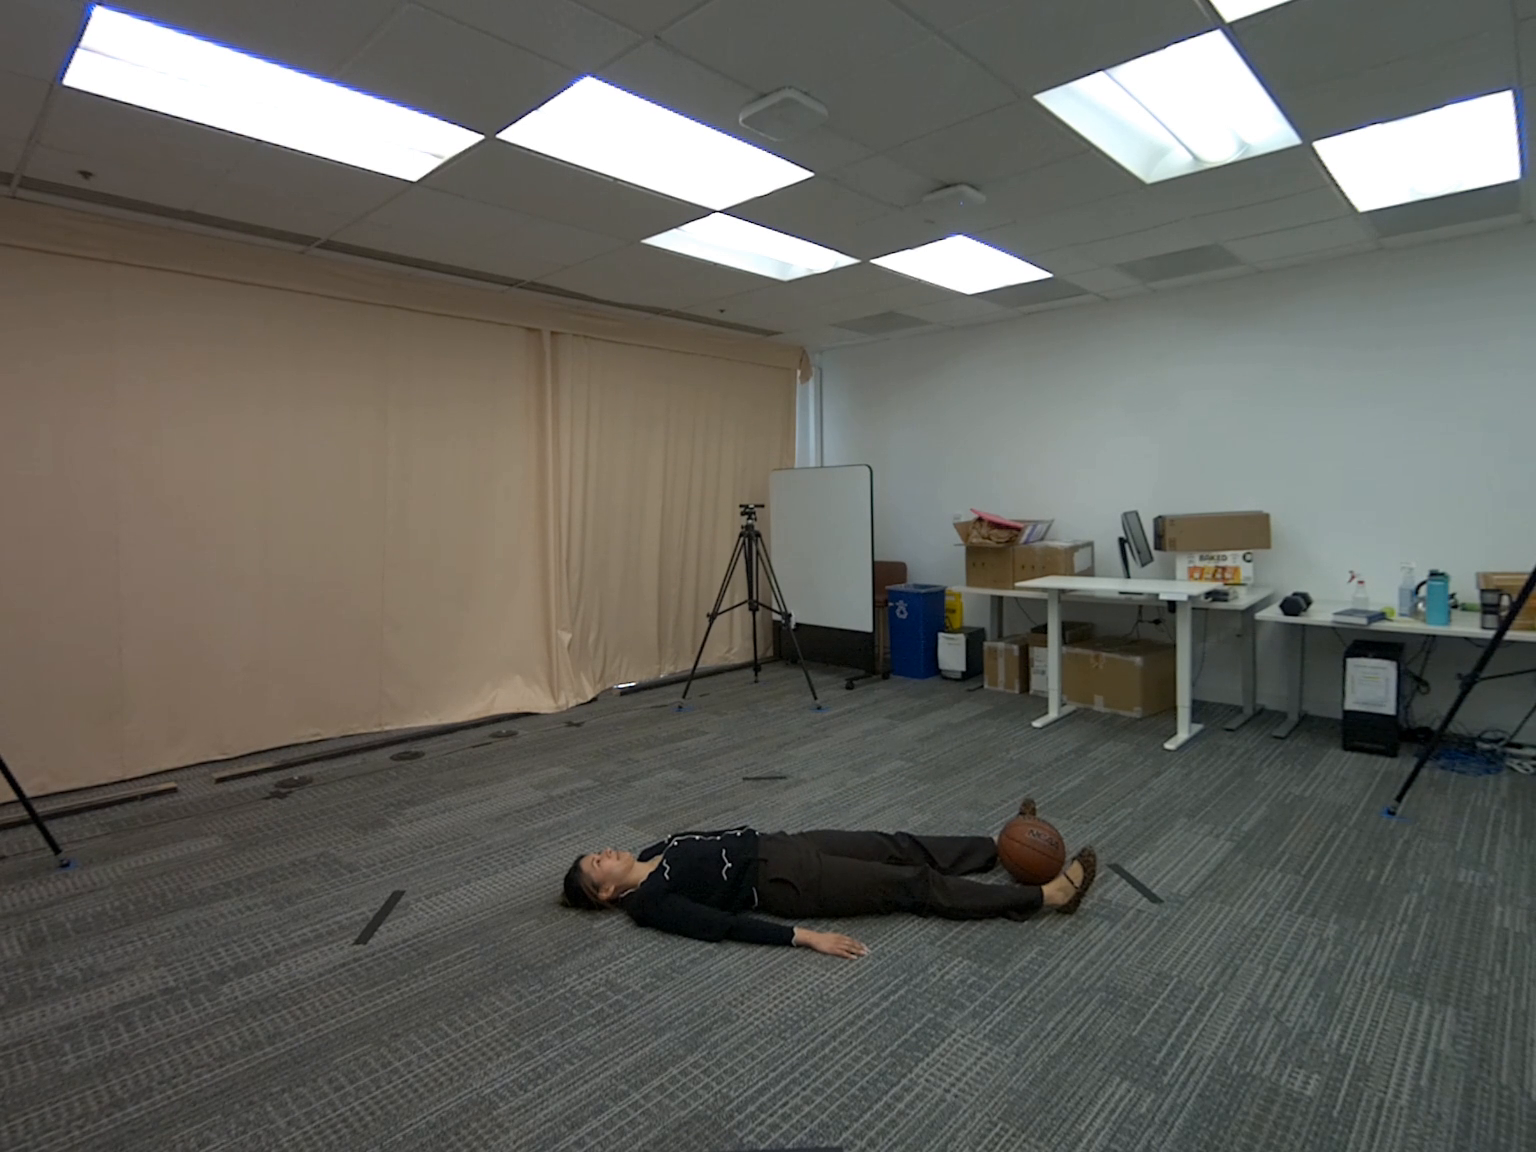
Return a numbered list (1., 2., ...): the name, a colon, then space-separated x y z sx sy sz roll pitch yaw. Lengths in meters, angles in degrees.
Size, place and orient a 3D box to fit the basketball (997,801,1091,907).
1. basketball: 0.970 1.001 3.067 0.236 0.236 0.236 0 1 -2
